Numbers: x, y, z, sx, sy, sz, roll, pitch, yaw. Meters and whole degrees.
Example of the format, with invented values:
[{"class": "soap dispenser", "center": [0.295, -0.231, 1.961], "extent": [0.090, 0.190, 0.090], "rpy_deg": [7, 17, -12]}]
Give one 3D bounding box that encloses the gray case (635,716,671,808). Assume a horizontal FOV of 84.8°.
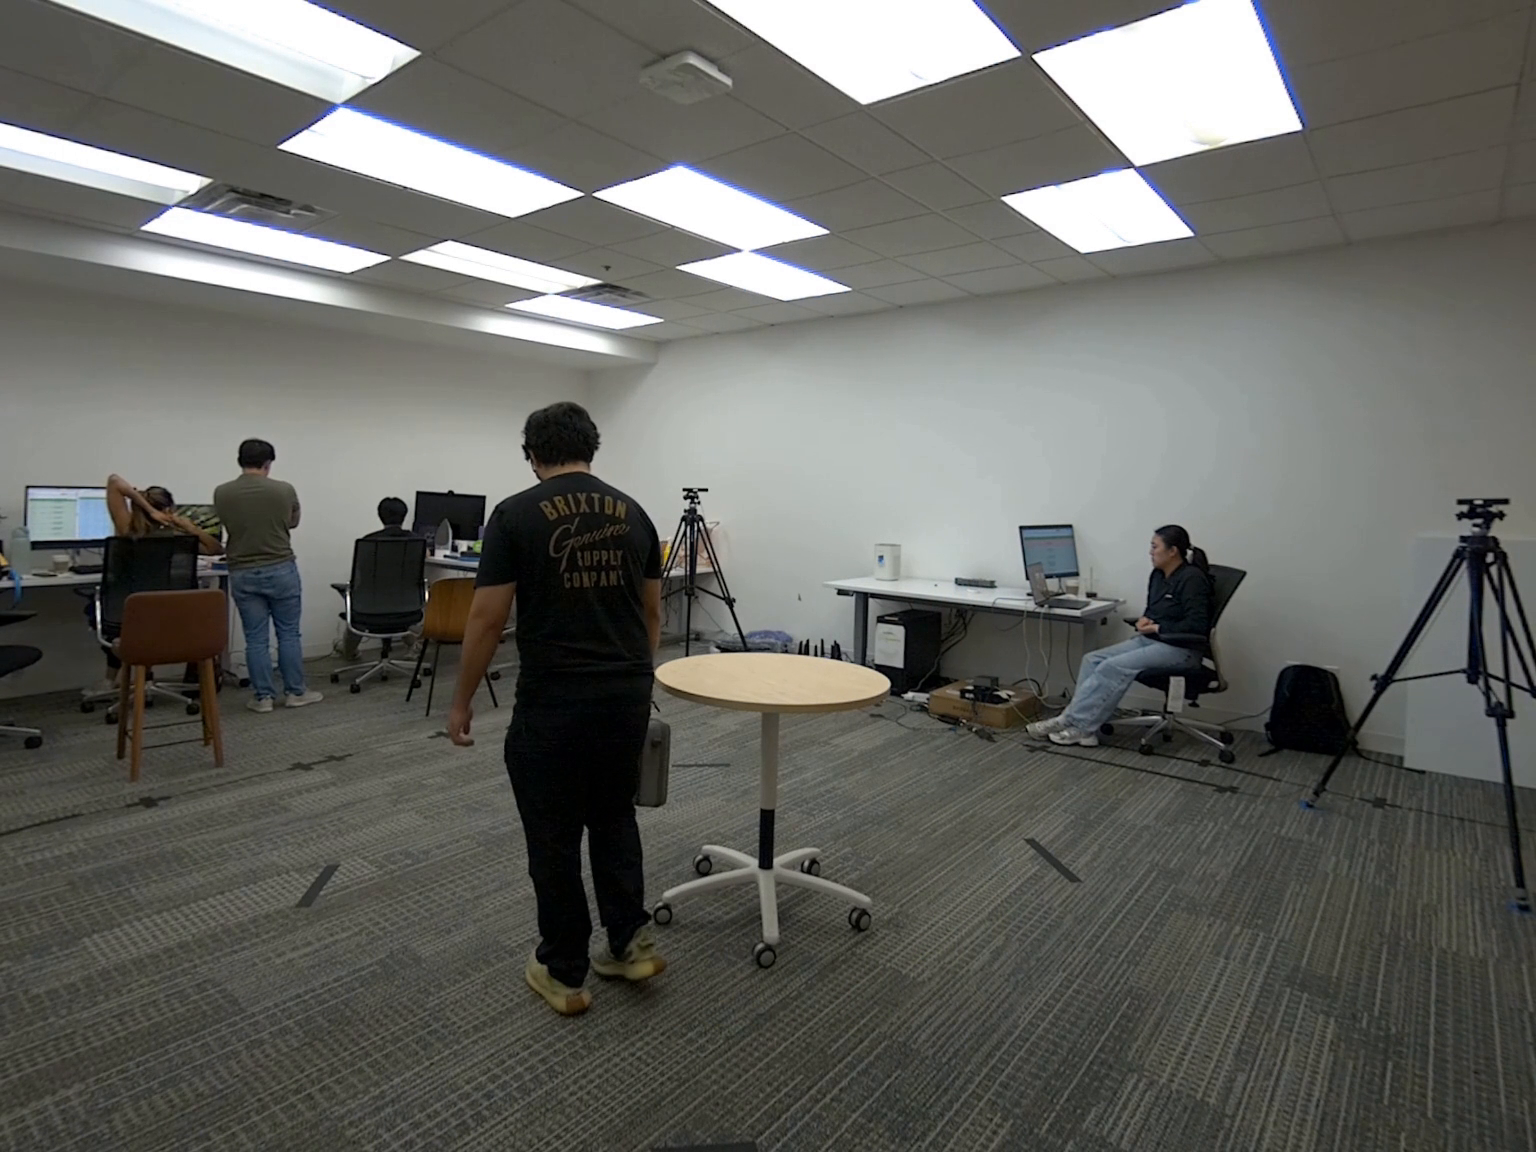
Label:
[{"class": "gray case", "center": [-0.404, 0.562, 2.630], "extent": [0.101, 0.262, 0.263], "rpy_deg": [5, -5, -29]}]
